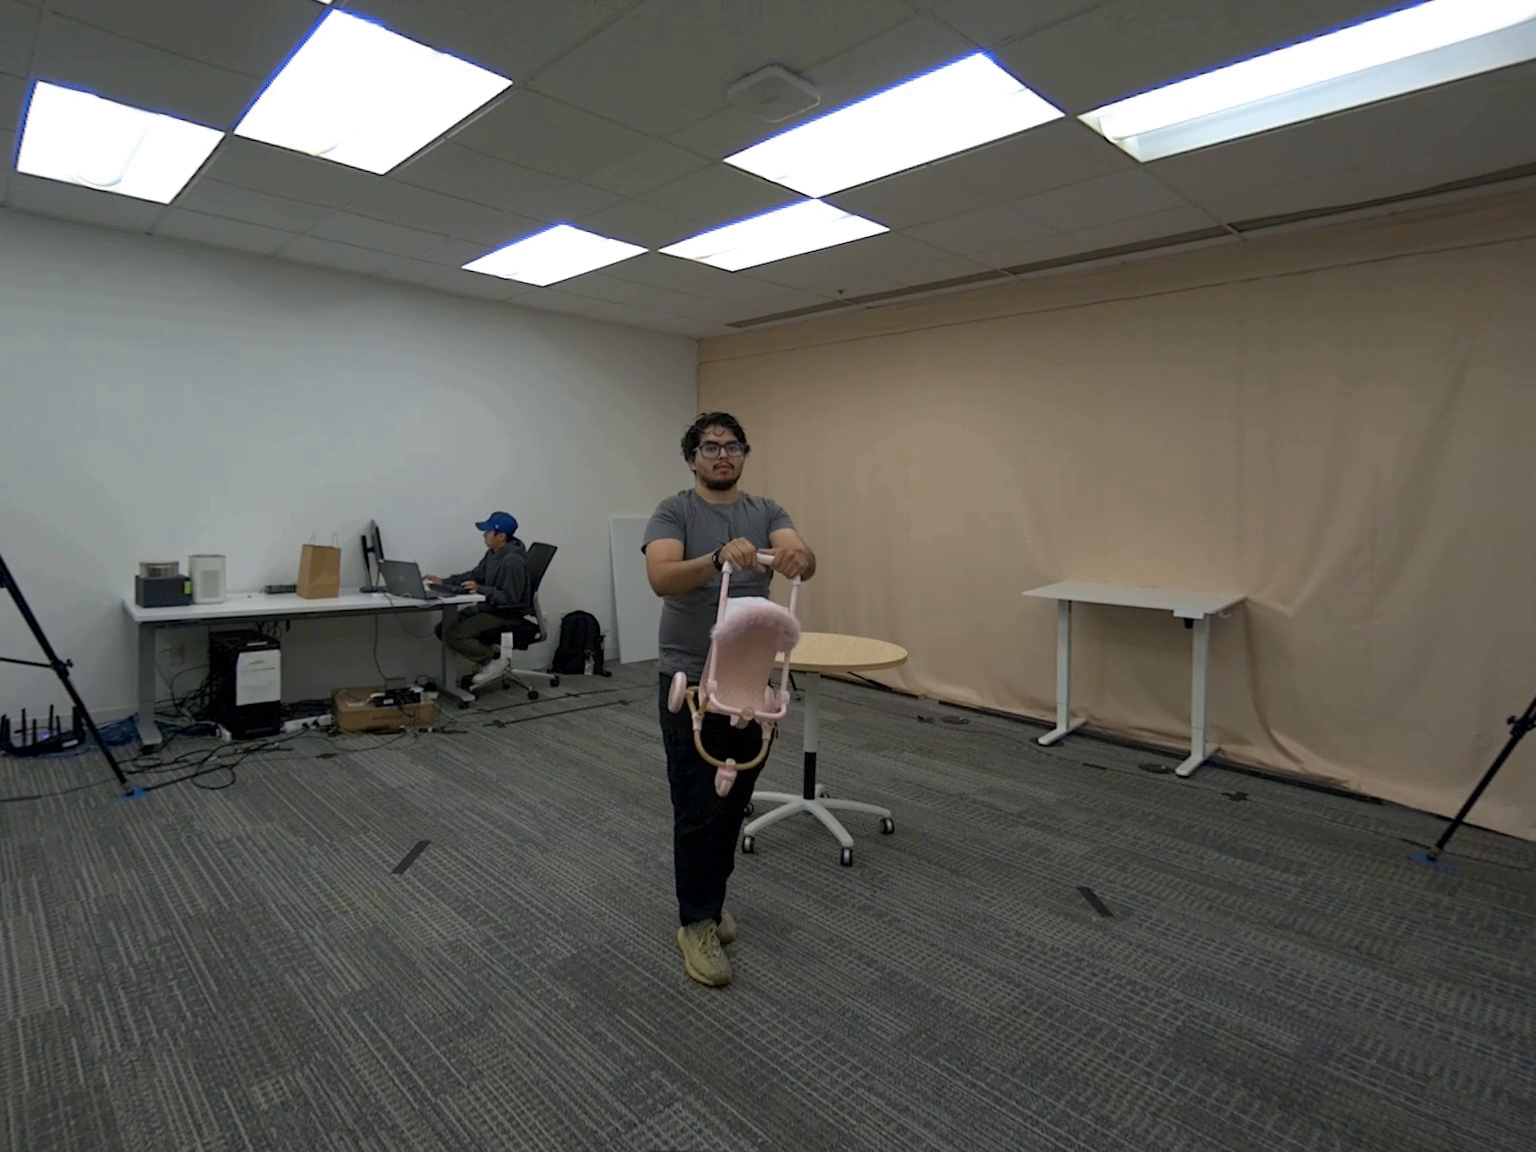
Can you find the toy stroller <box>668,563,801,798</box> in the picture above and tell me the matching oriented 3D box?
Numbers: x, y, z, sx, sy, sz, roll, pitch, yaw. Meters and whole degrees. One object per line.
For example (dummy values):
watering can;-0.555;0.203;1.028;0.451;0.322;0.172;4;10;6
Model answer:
toy stroller;-0.077;0.258;2.135;0.278;0.530;0.348;14;24;-13
